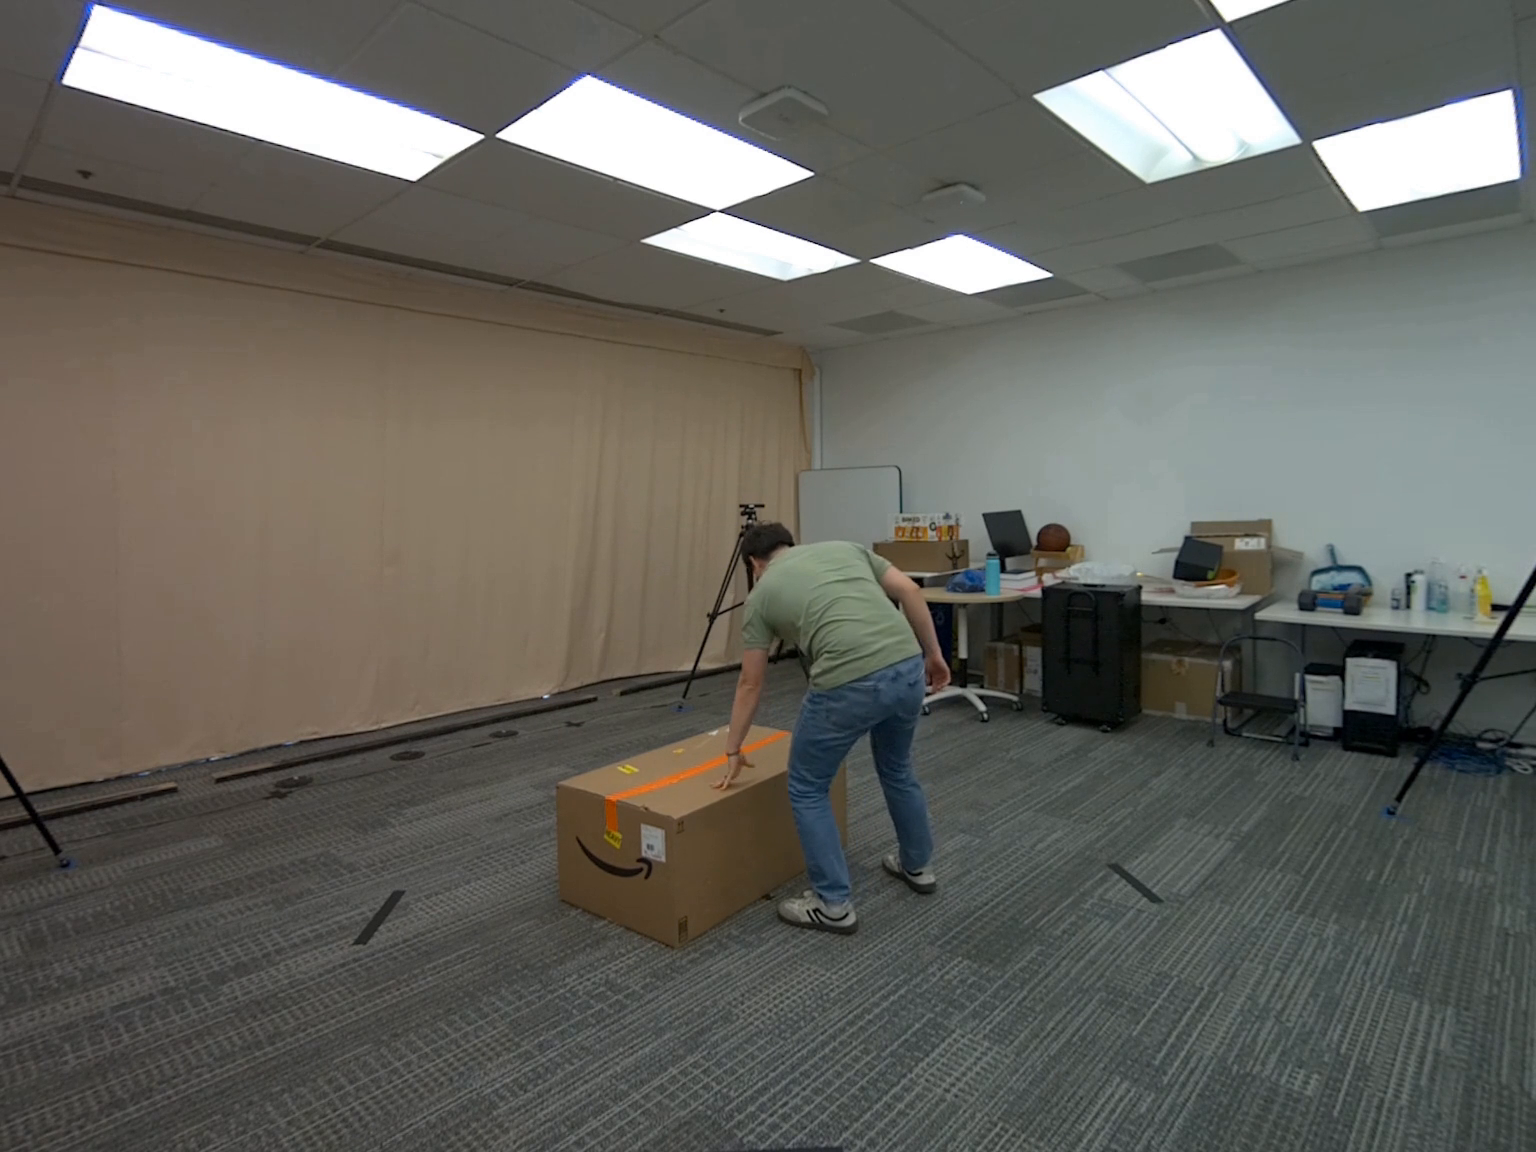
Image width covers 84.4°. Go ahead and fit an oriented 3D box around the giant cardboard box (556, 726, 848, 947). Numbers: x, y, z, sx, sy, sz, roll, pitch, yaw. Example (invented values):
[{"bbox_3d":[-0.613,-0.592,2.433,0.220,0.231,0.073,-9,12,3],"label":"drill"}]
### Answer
[{"bbox_3d":[-0.216,0.915,3.198,0.596,0.425,0.996,1,5,38],"label":"giant cardboard box"}]
